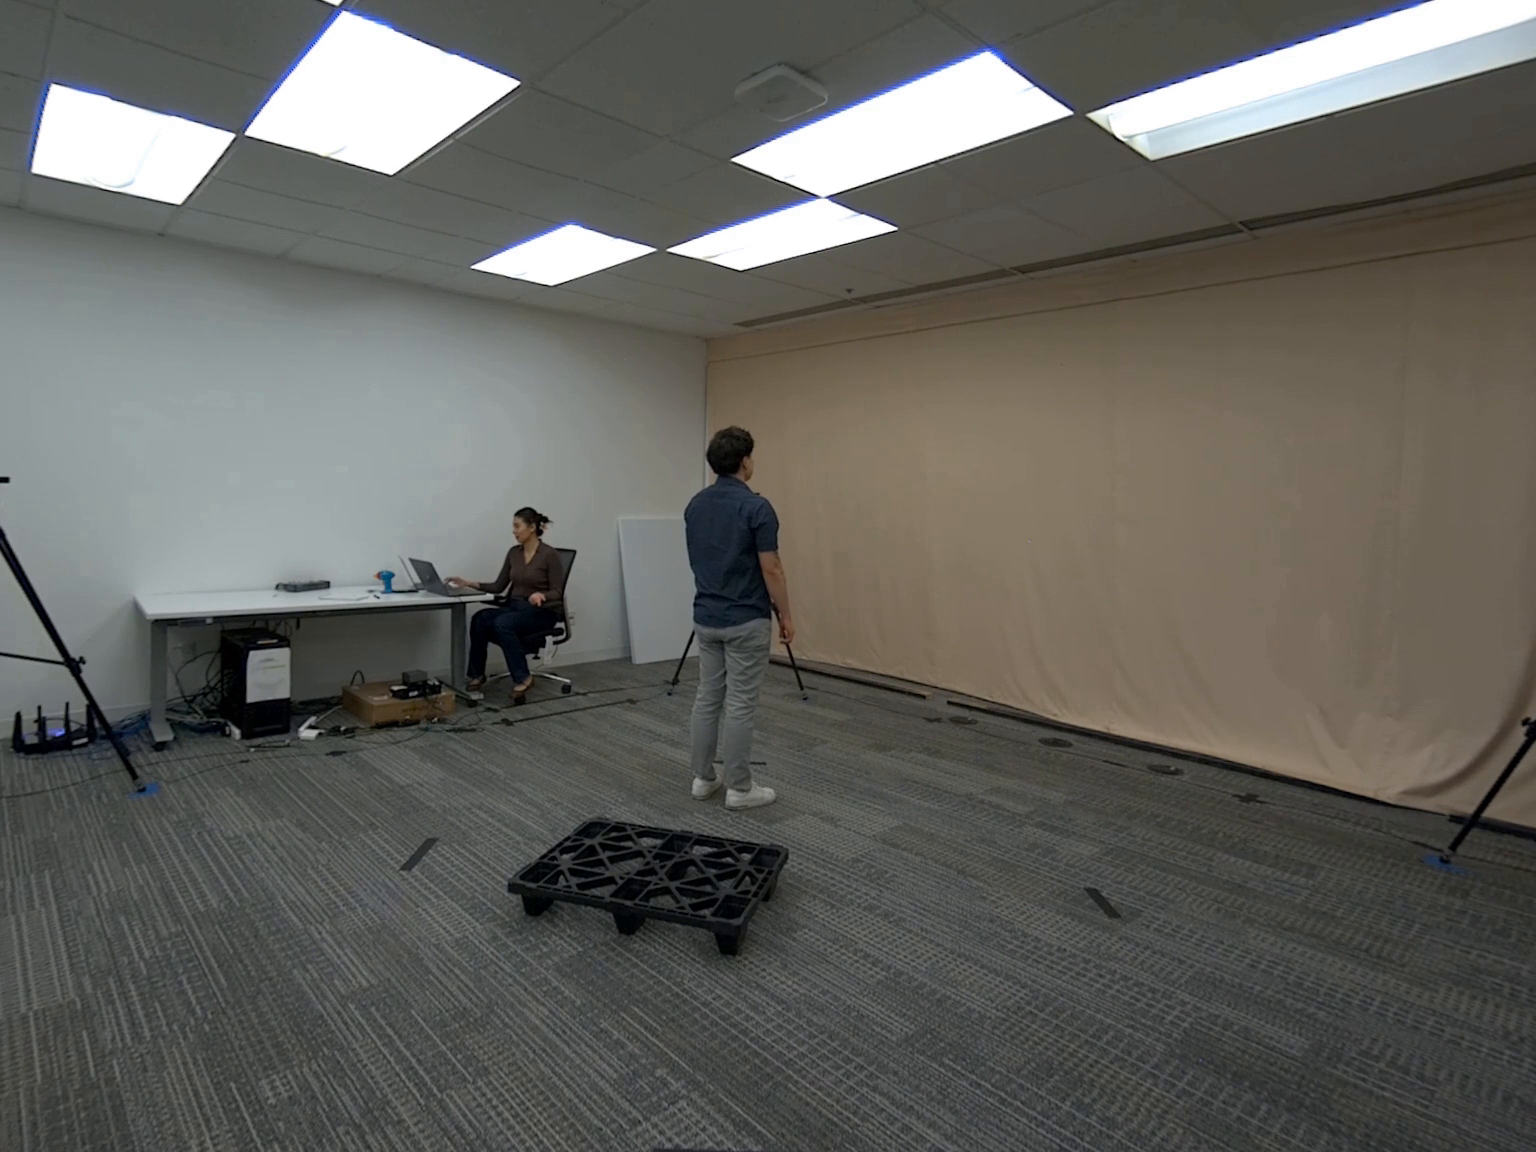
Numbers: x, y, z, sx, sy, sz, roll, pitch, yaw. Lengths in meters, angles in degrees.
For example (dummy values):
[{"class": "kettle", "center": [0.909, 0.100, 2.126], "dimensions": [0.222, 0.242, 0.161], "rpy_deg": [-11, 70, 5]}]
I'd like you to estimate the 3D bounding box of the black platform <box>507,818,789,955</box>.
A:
[{"class": "black platform", "center": [-0.388, 1.052, 2.879], "dimensions": [0.817, 0.143, 0.599], "rpy_deg": [3, 6, 17]}]
